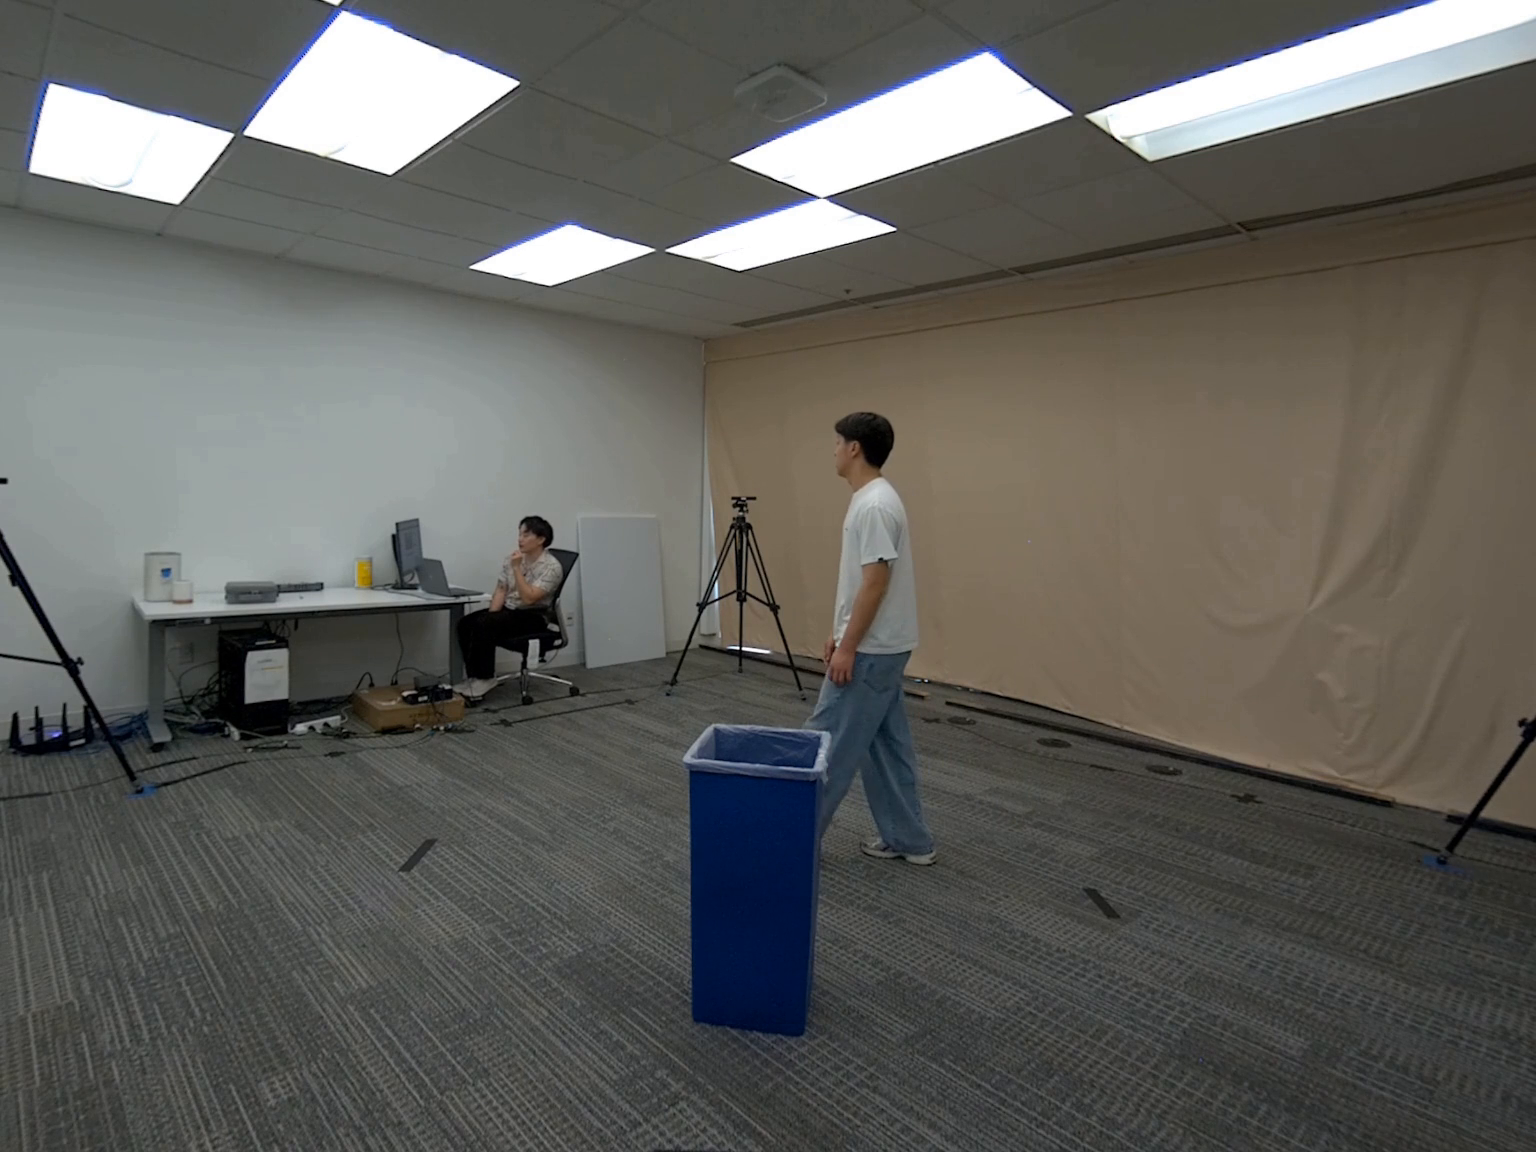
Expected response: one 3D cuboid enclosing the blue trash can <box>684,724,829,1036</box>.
[{"bbox_3d":[-0.038,0.823,2.329,0.377,0.712,0.376,2,3,9],"label":"blue trash can"}]
